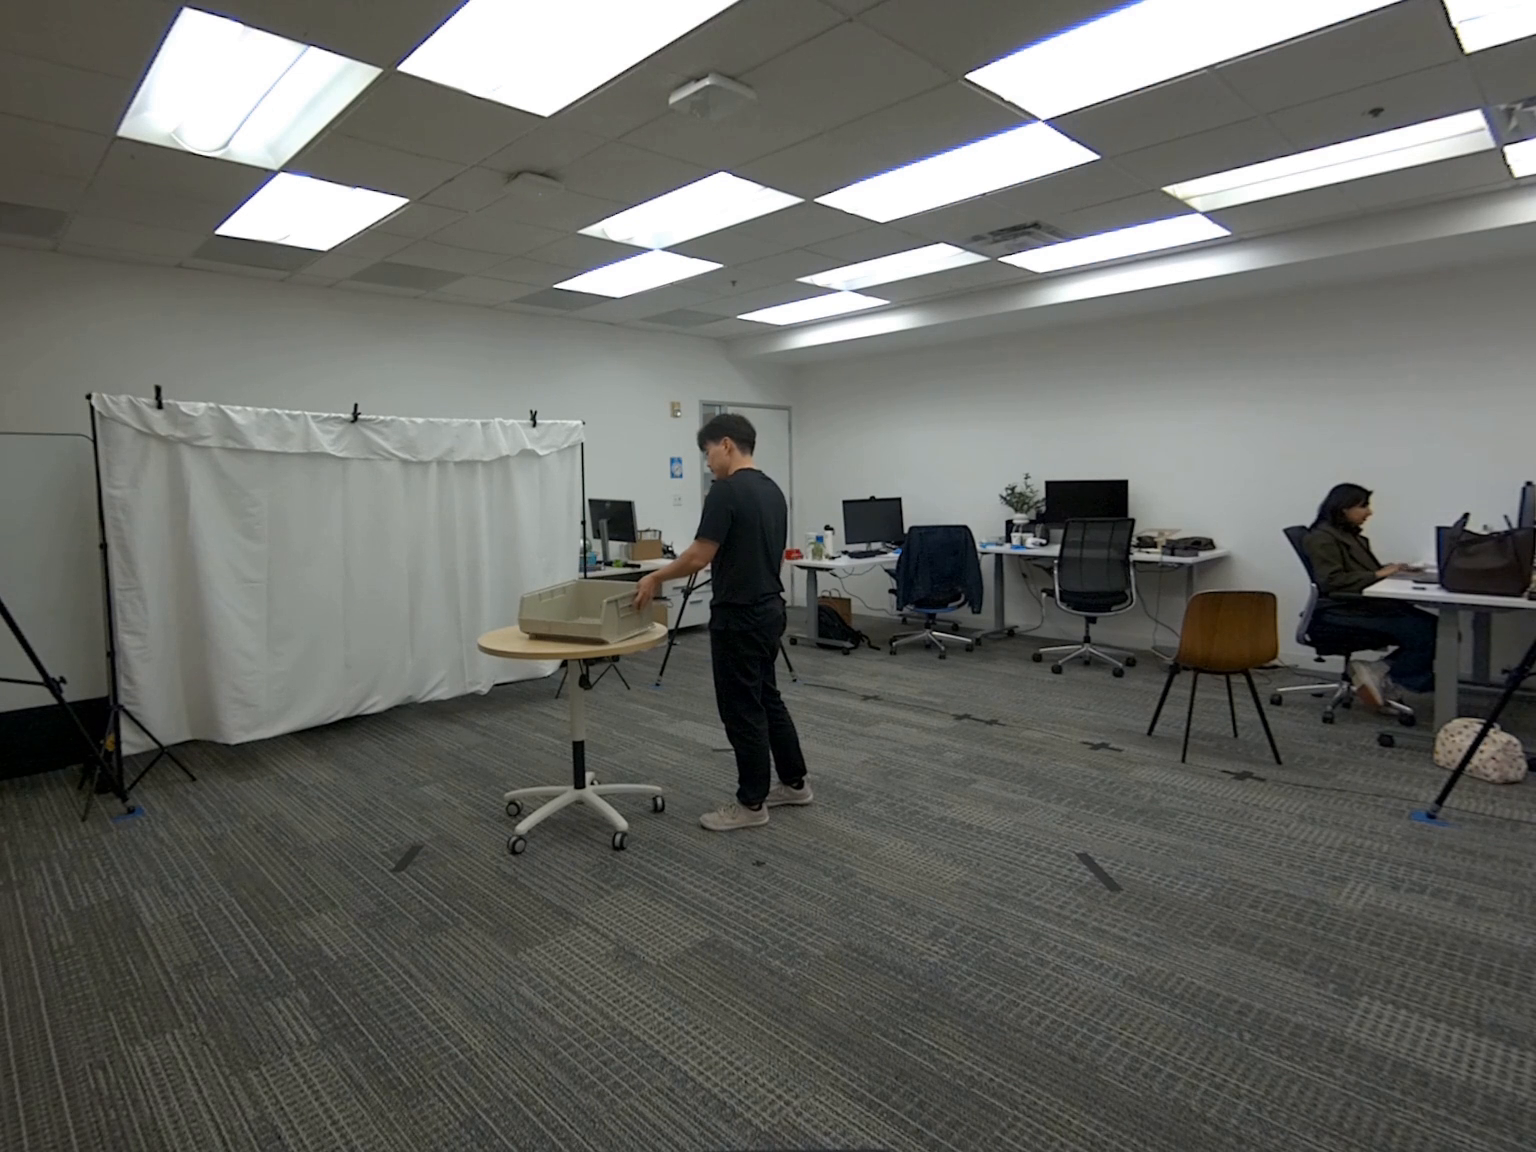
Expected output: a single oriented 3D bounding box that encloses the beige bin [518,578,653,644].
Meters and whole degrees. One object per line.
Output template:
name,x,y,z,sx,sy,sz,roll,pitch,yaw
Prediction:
beige bin,-0.726,0.143,3.444,0.432,0.188,0.370,1,7,26
